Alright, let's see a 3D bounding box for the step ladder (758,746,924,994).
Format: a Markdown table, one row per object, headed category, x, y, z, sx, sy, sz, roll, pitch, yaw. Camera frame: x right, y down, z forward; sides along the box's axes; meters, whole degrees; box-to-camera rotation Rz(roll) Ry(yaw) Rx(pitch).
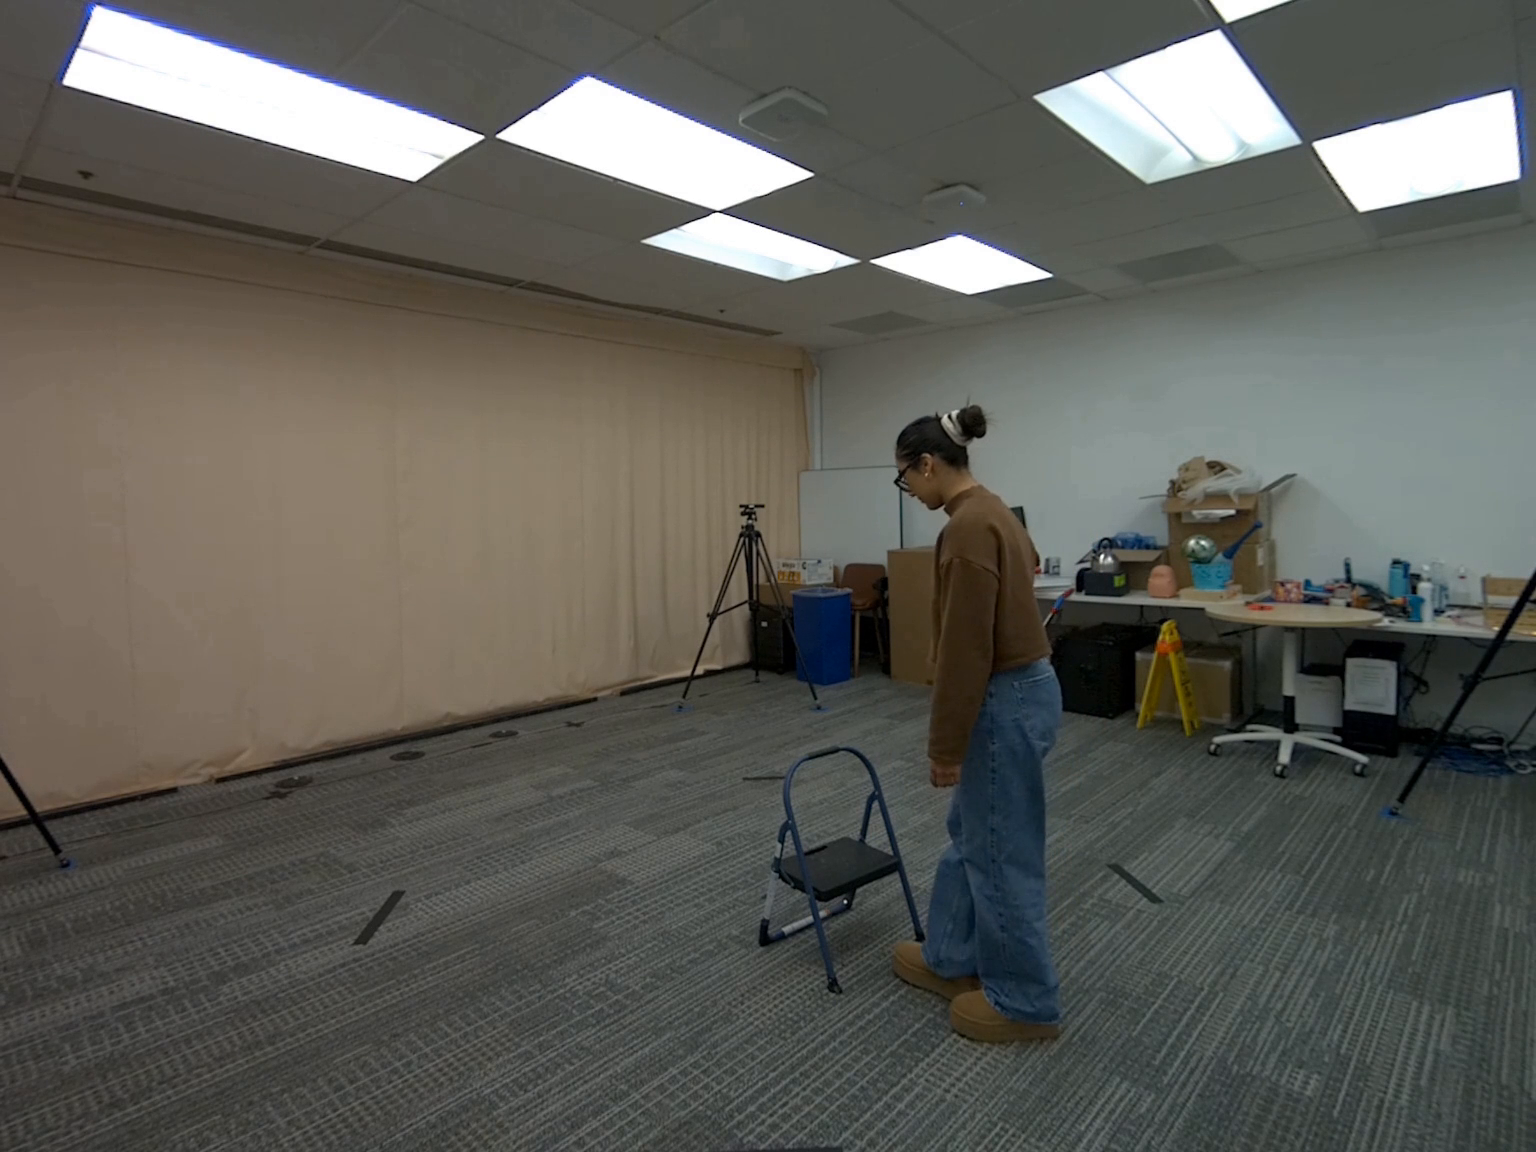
| category | x | y | z | sx | sy | sz | roll | pitch | yaw |
| --- | --- | --- | --- | --- | --- | --- | --- | --- | --- |
| step ladder | 0.236 | 0.860 | 2.641 | 0.418 | 0.605 | 0.360 | -4 | 4 | -40 |
